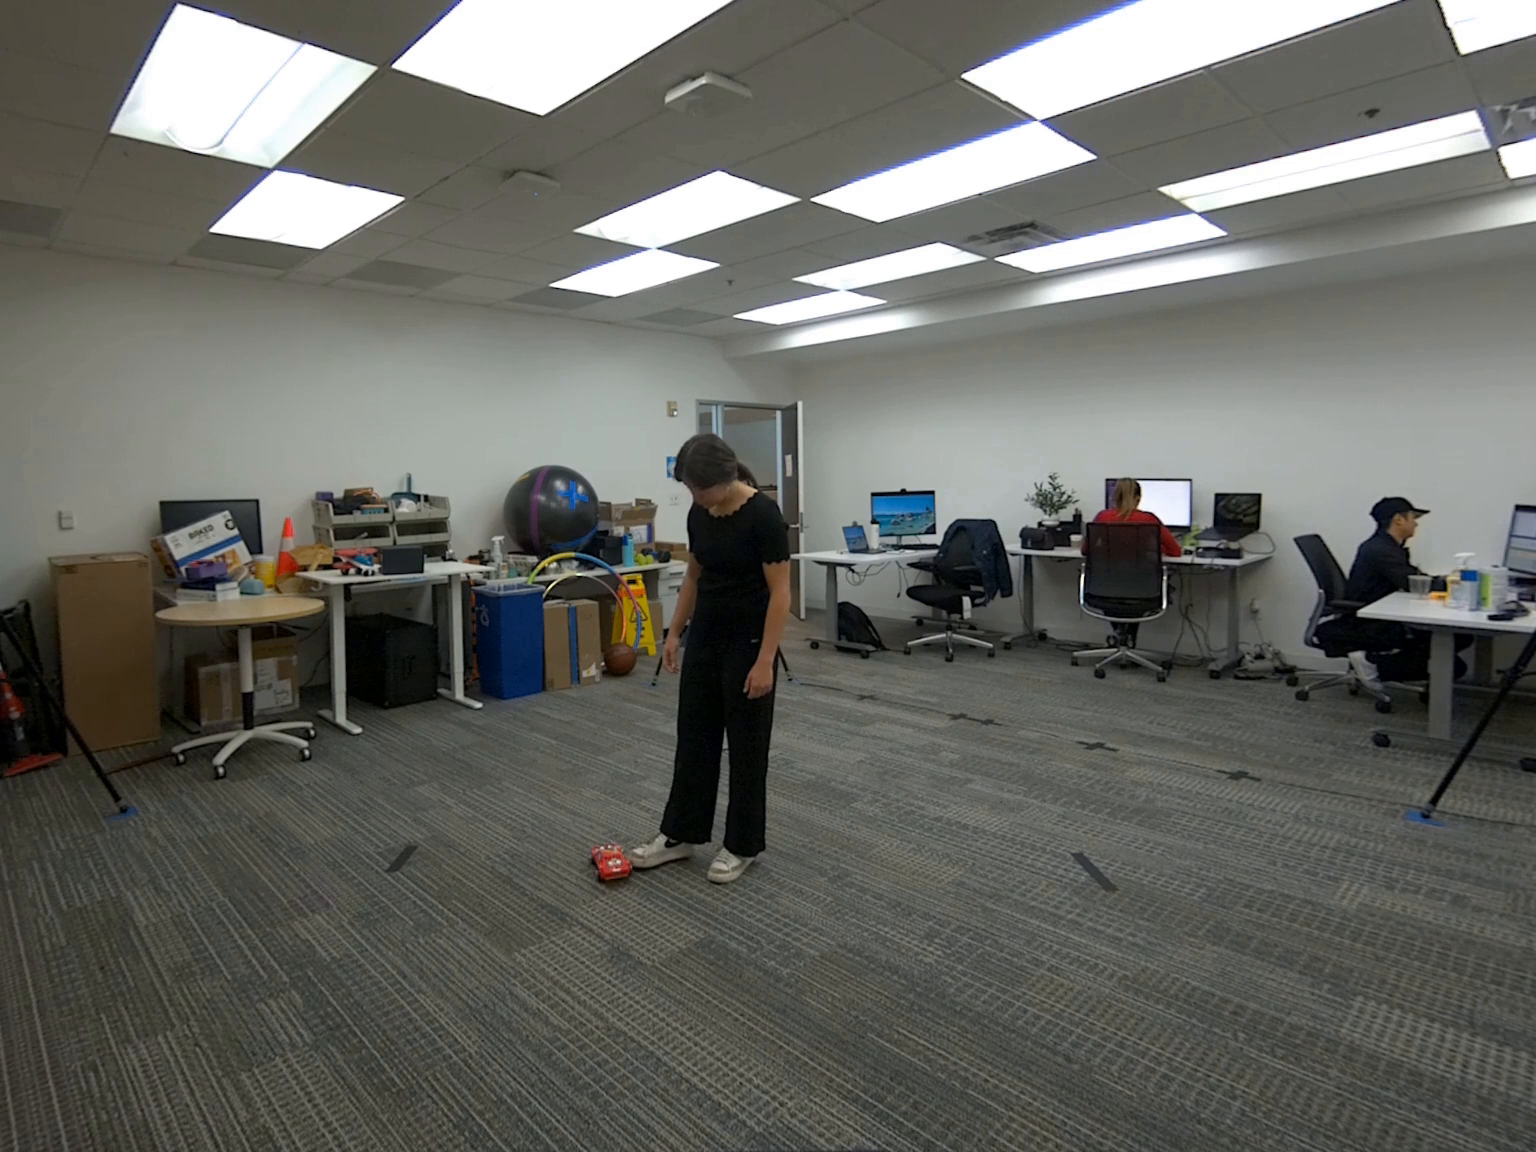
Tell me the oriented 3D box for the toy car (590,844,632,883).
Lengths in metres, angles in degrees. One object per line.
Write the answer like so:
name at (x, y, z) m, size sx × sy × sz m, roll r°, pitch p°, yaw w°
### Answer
toy car at (-0.558, 1.026, 3.055) m, size 0.128 × 0.083 × 0.257 m, roll -4°, pitch -4°, yaw -19°
